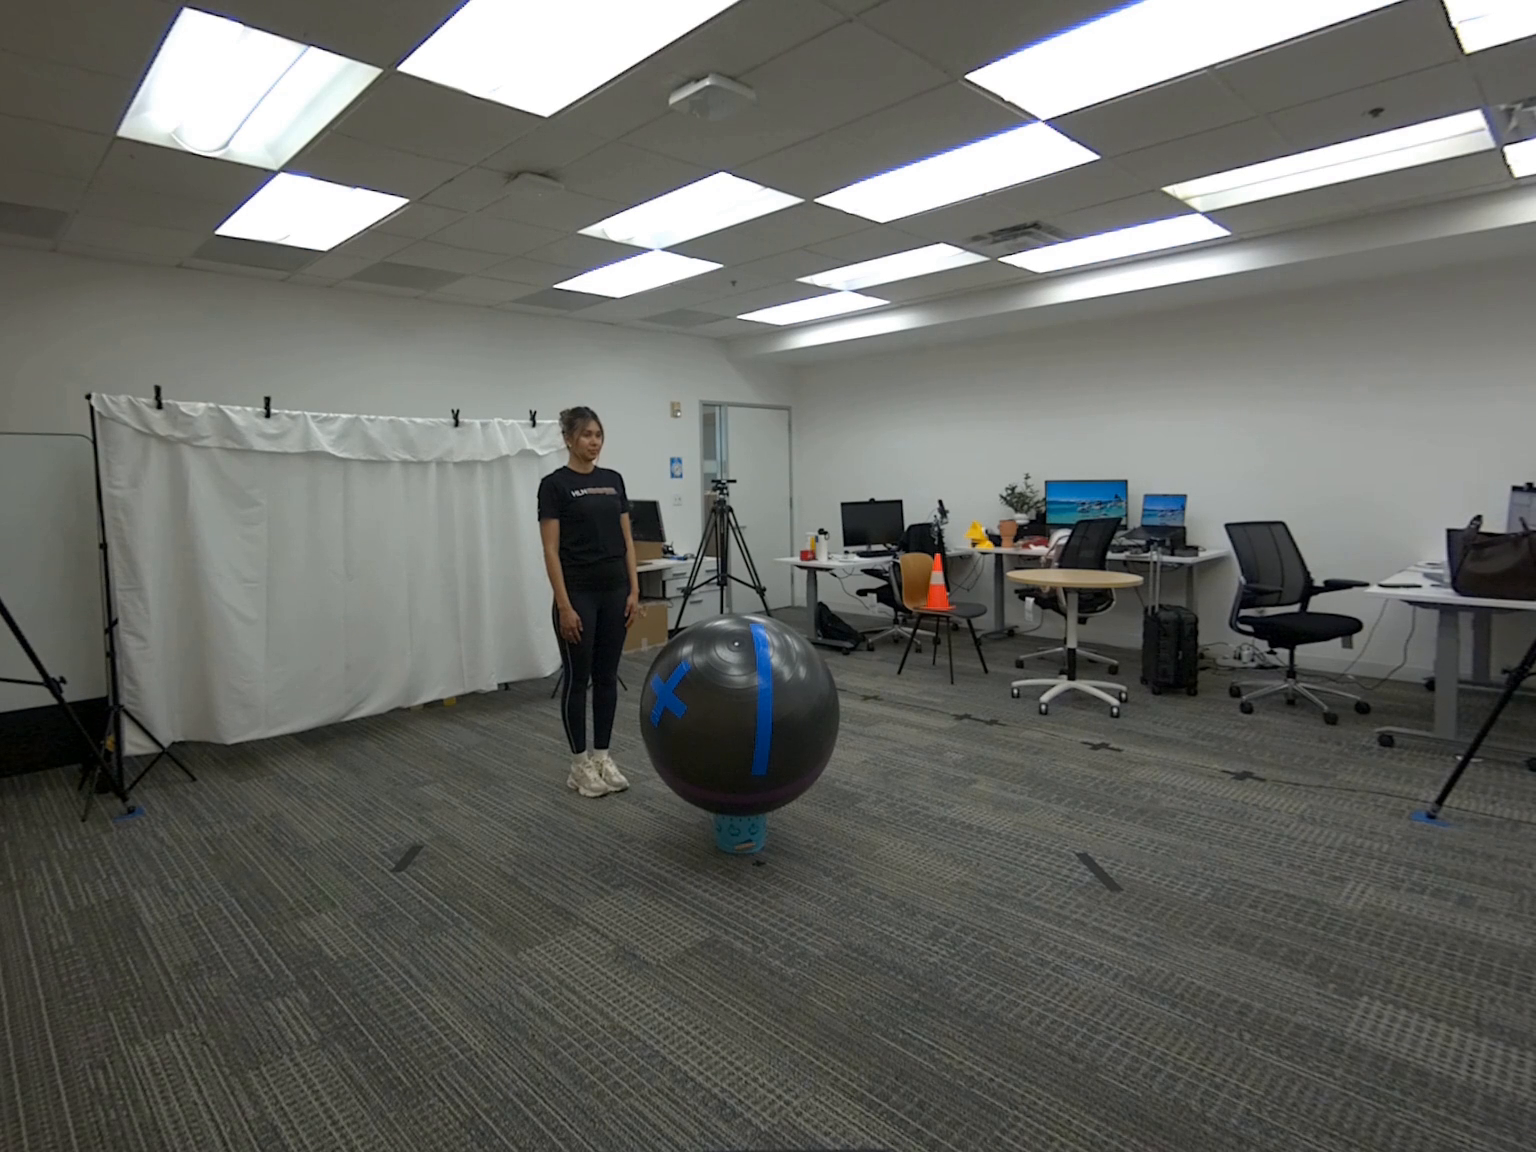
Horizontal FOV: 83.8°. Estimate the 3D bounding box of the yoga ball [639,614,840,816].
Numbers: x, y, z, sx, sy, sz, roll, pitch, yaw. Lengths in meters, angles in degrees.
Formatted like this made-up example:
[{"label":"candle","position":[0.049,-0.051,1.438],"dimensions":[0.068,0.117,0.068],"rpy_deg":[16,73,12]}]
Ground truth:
[{"label":"yoga ball","position":[-0.112,0.520,3.250],"dimensions":[0.757,0.755,0.762],"rpy_deg":[-1,5,-2]}]
